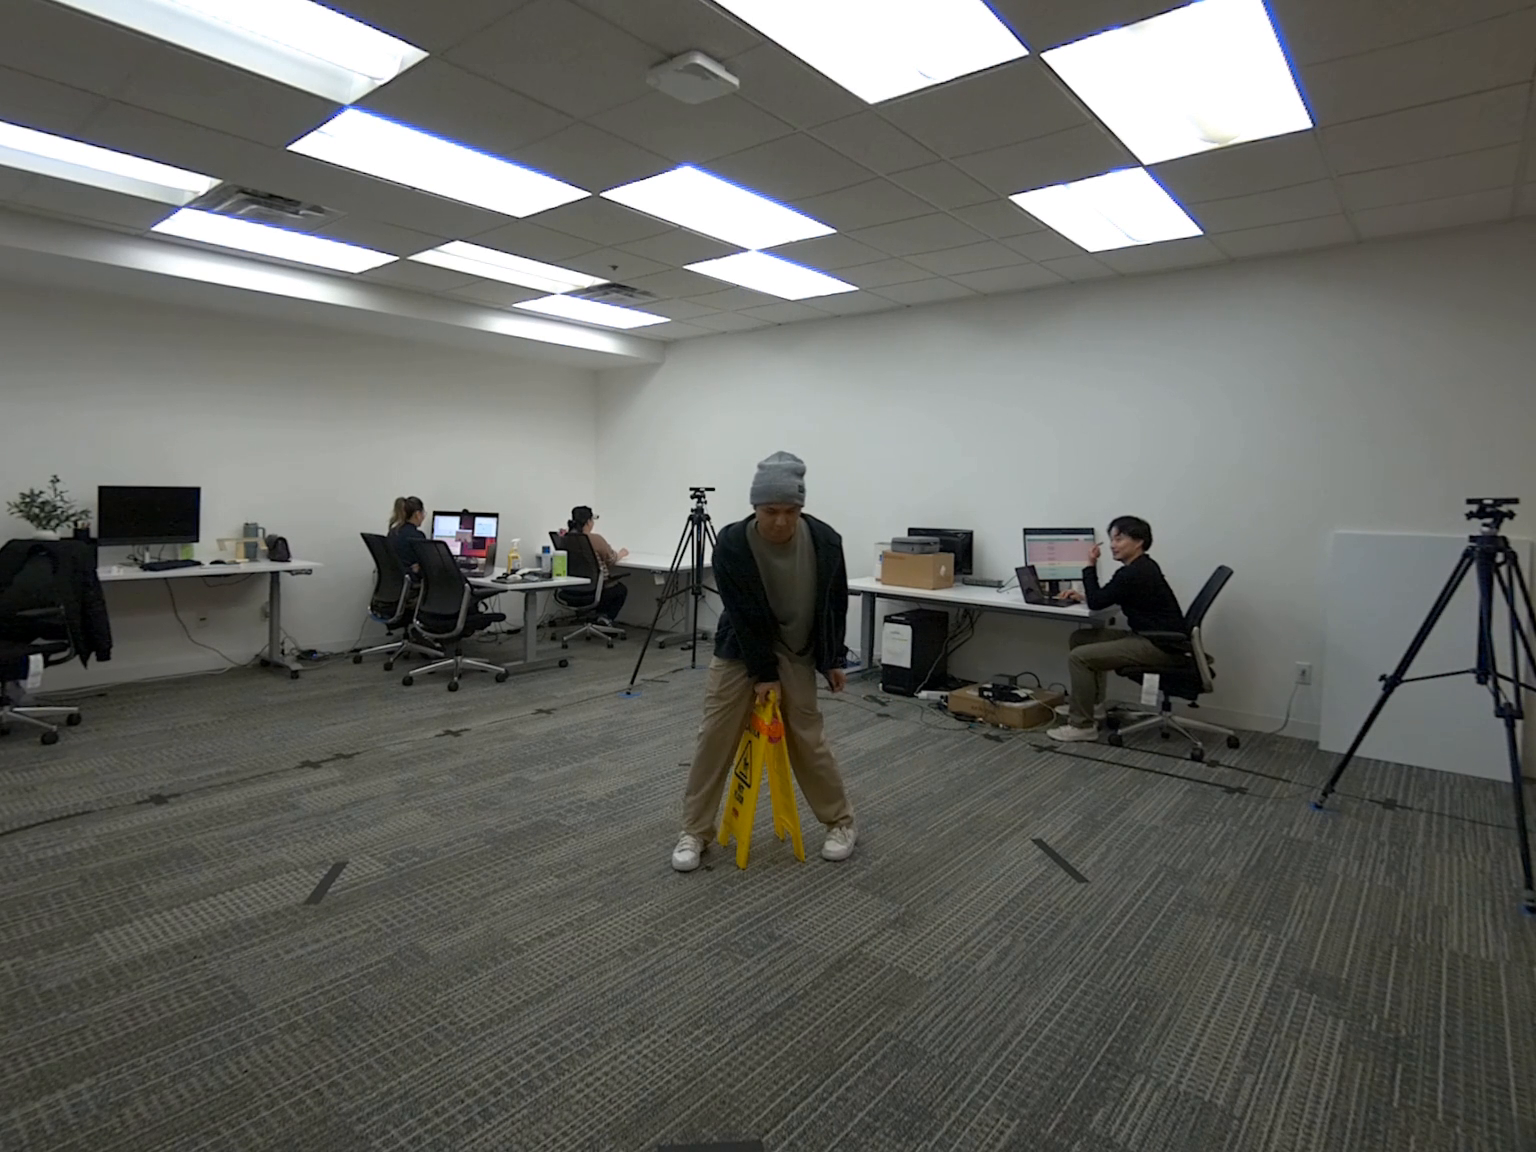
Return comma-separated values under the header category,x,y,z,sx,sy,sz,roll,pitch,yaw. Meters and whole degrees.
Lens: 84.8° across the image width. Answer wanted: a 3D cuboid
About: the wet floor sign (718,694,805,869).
category,x,y,z,sx,sy,sz,roll,pitch,yaw
wet floor sign,-0.025,0.736,3.255,0.284,0.644,0.288,0,4,-18
